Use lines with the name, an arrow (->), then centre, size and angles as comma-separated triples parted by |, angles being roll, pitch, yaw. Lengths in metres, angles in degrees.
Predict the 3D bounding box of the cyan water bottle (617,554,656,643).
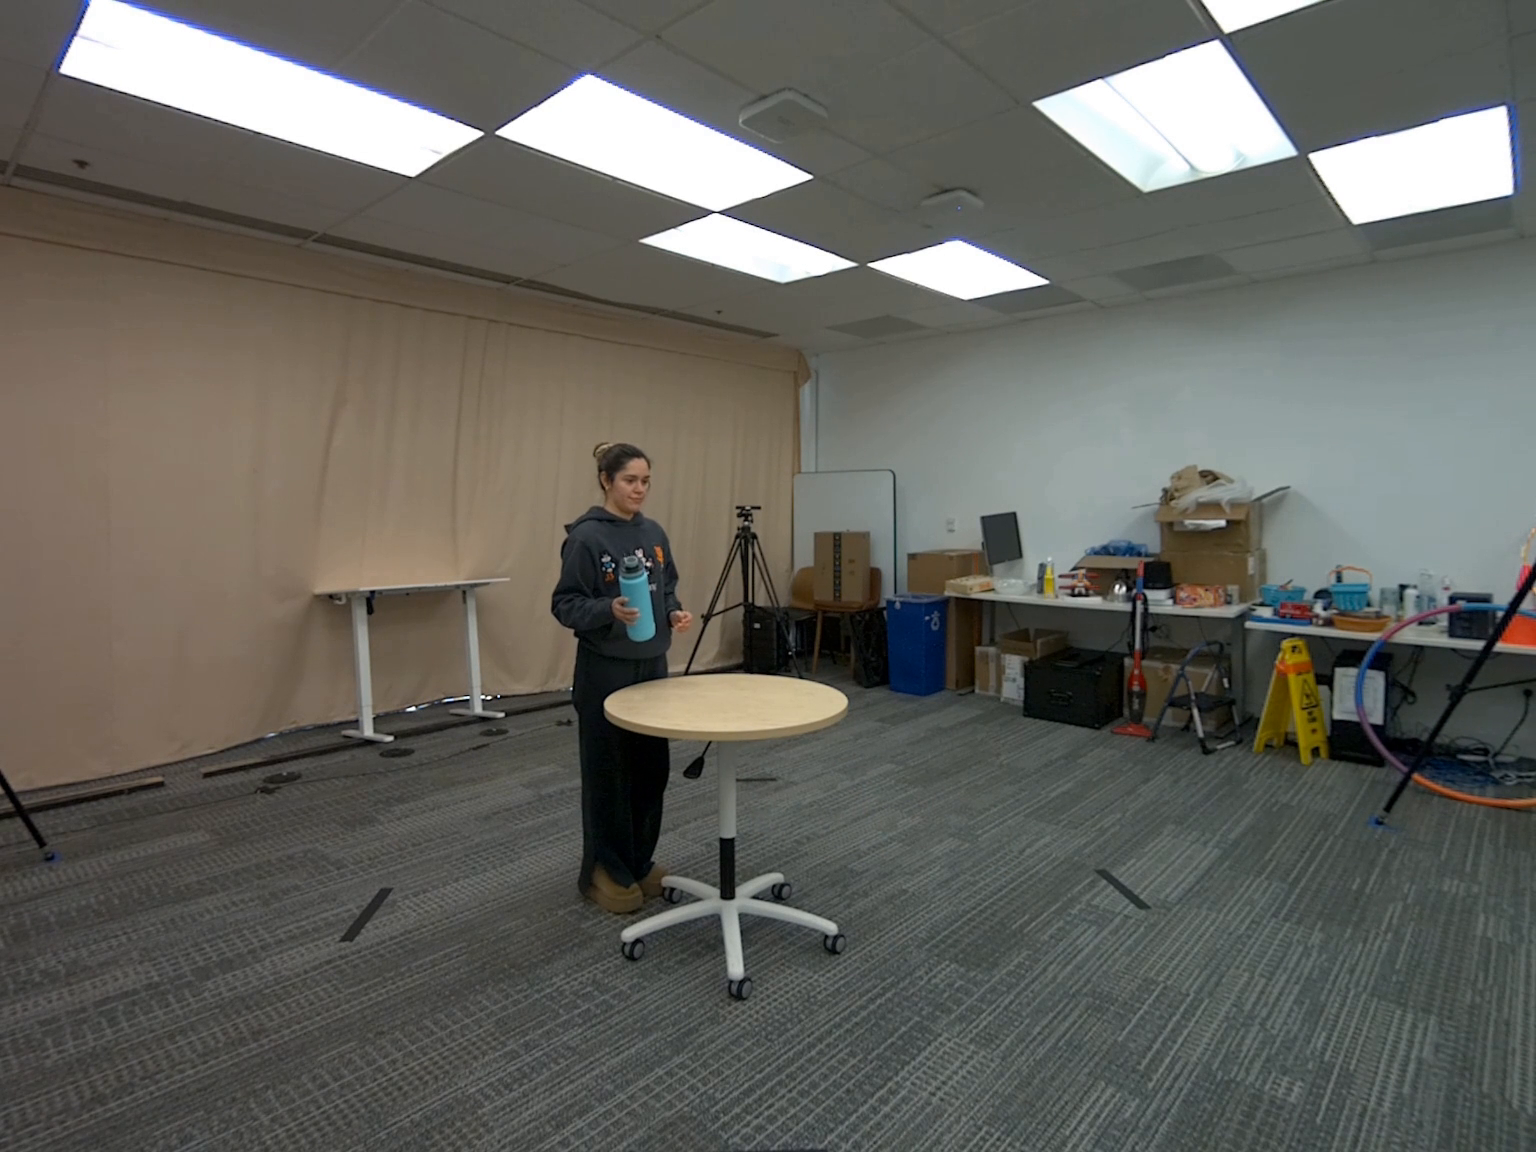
cyan water bottle -> -0.414, 0.063, 2.662 | 0.092, 0.278, 0.094 | -5, 28, 1
